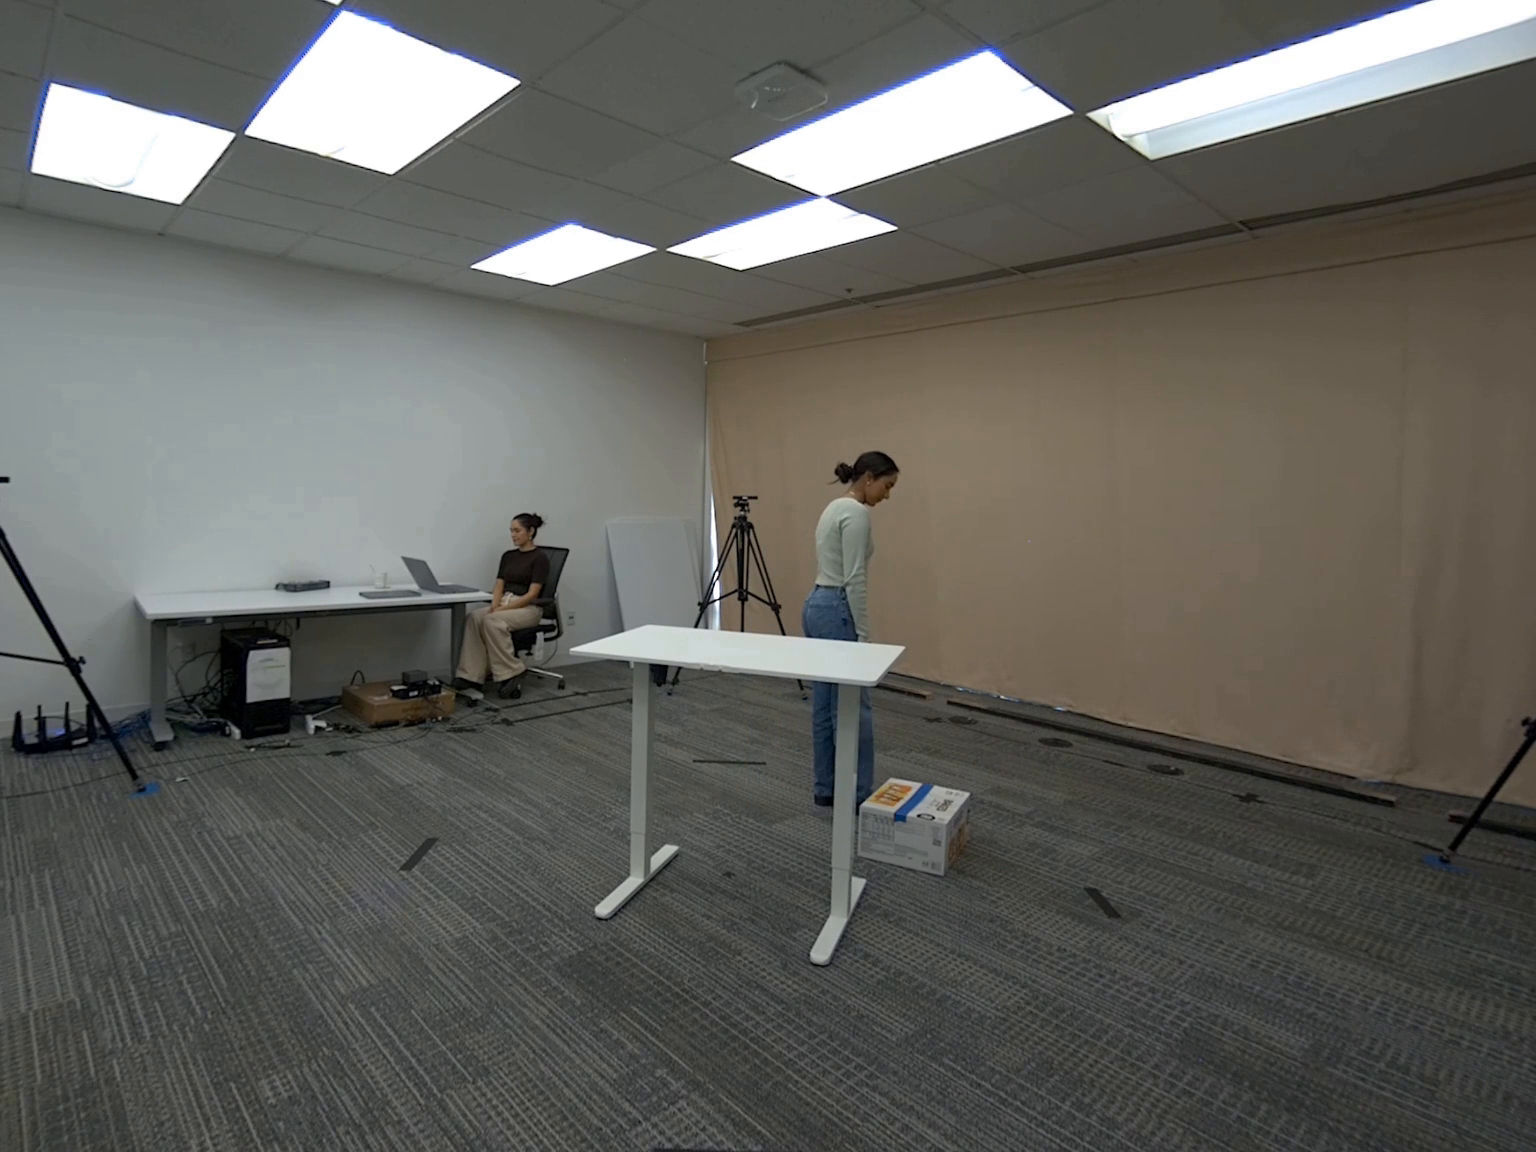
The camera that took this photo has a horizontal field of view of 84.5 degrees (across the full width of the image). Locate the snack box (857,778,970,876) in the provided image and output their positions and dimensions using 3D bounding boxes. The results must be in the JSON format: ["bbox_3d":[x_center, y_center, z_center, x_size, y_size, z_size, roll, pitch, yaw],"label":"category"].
[{"bbox_3d":[0.585,0.994,3.378,0.347,0.205,0.398,4,5,27],"label":"snack box"}]
